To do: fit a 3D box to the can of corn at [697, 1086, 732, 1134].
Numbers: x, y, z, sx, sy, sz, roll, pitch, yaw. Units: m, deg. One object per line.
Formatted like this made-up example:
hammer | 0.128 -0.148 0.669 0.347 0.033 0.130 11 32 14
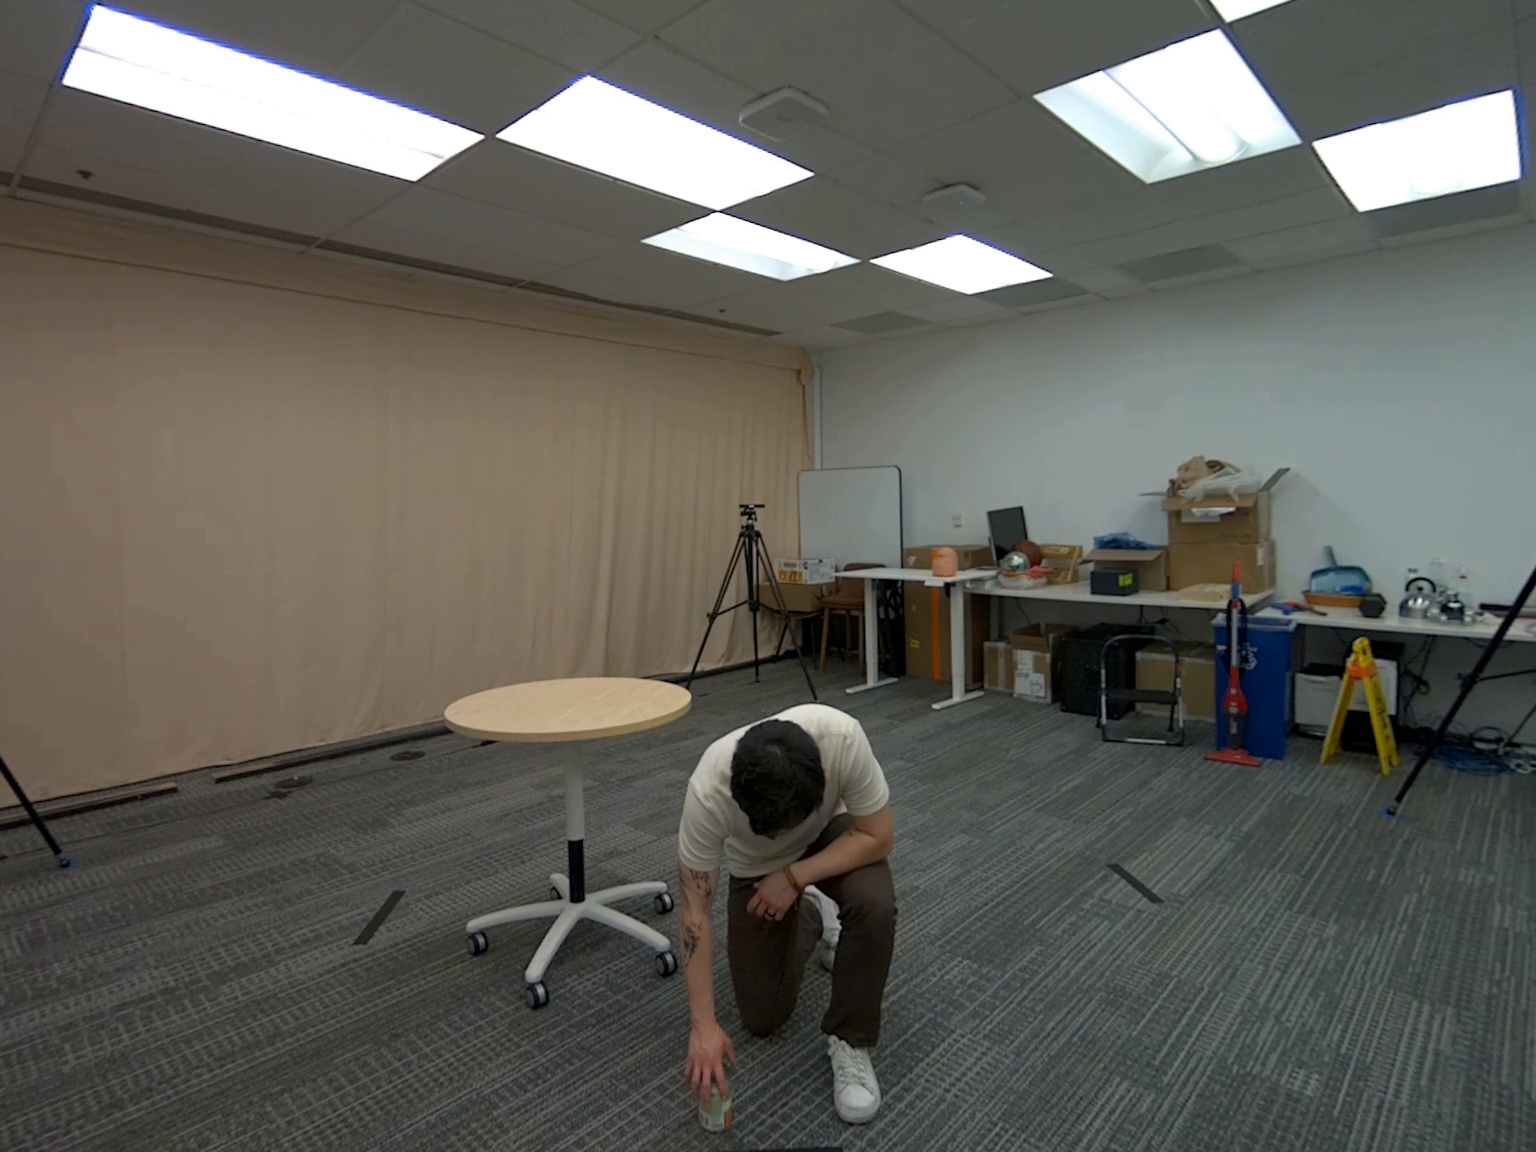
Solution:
can of corn | -0.118 1.179 1.906 0.074 0.111 0.074 0 3 -2
